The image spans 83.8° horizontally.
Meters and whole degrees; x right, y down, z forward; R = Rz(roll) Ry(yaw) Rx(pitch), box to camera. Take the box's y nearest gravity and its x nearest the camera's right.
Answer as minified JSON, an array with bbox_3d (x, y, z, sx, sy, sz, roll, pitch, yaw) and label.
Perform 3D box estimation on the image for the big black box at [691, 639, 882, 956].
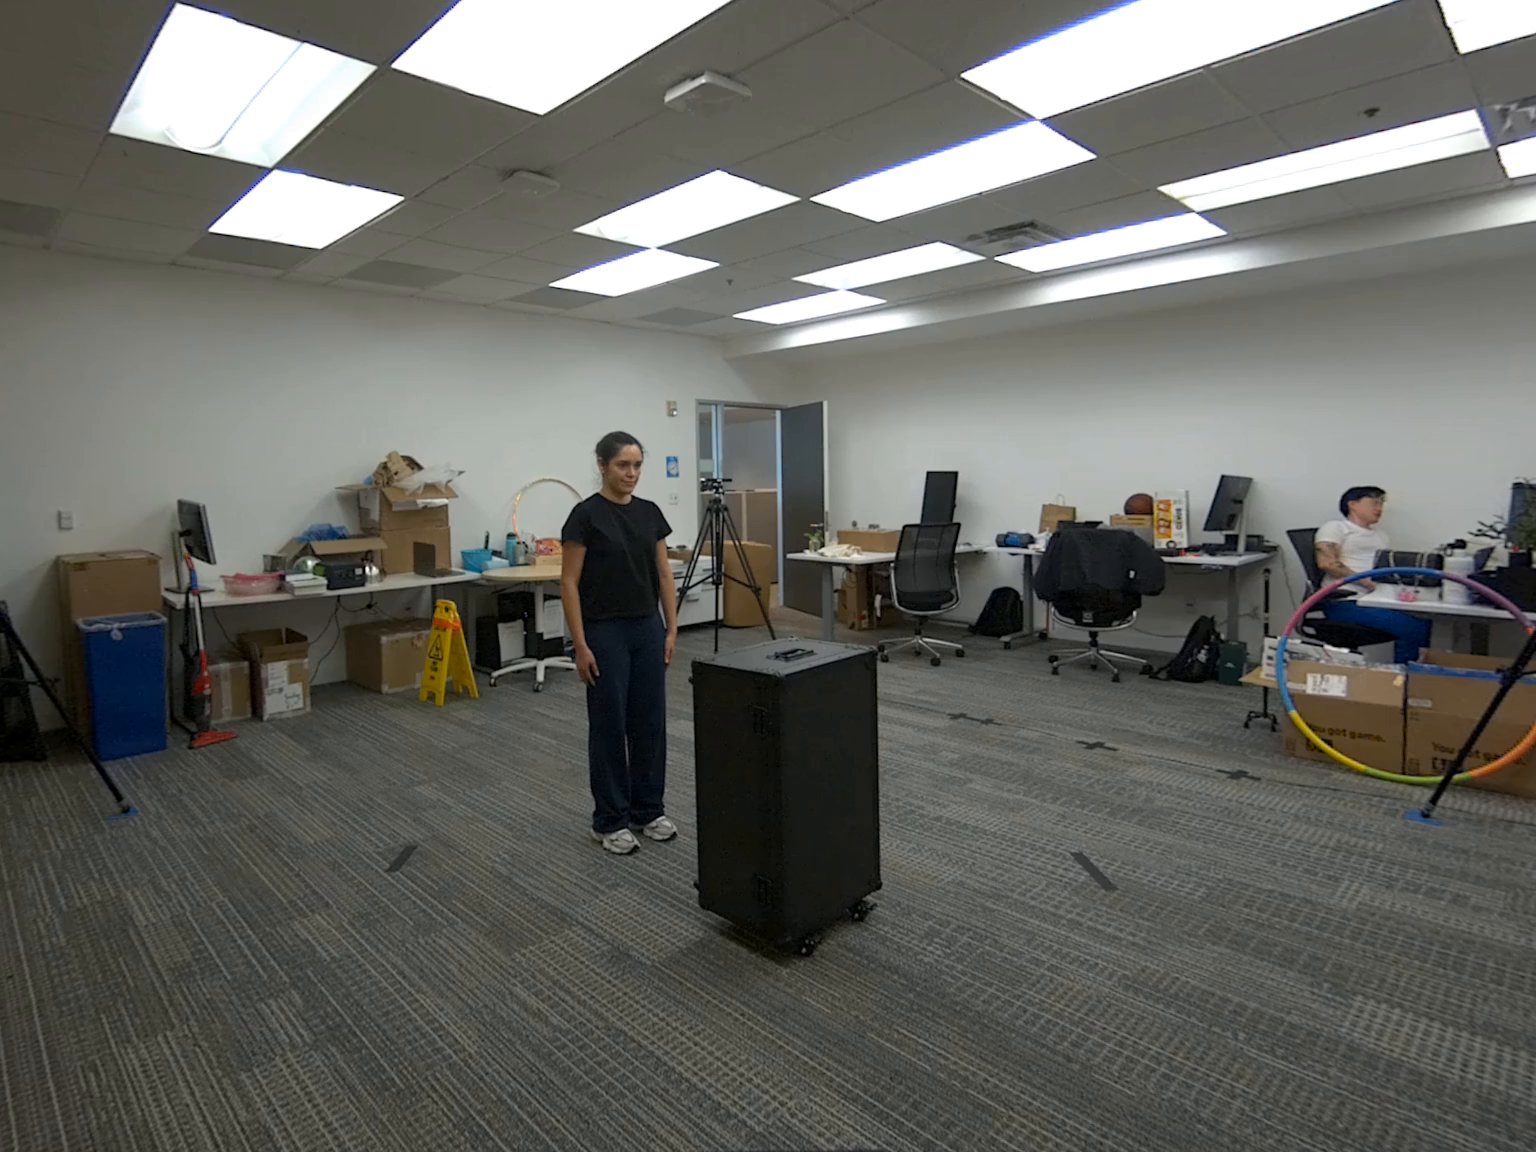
[{"bbox_3d":[0.064,0.663,2.696,0.408,0.859,0.507,1,5,43],"label":"big black box"}]
